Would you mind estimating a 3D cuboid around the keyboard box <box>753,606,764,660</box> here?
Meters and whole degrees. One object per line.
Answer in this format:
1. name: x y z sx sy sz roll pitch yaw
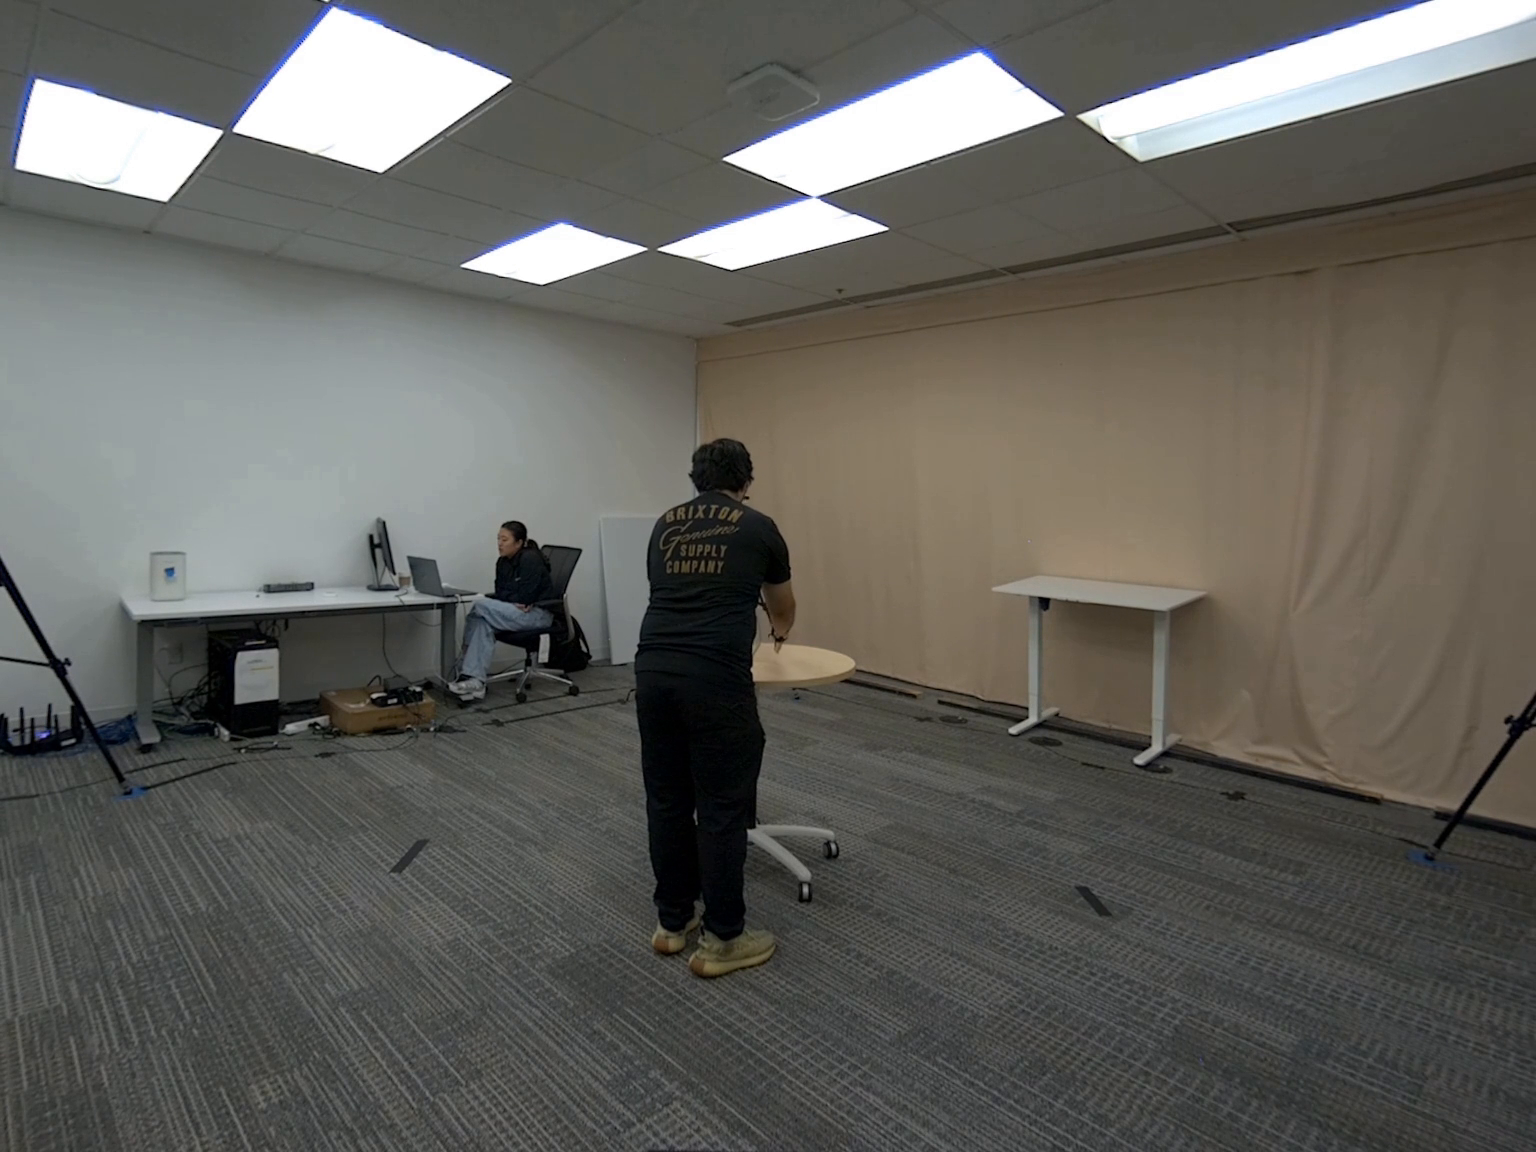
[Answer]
1. keyboard box: -0.077 0.223 3.336 0.059 0.175 0.435 0 4 7
